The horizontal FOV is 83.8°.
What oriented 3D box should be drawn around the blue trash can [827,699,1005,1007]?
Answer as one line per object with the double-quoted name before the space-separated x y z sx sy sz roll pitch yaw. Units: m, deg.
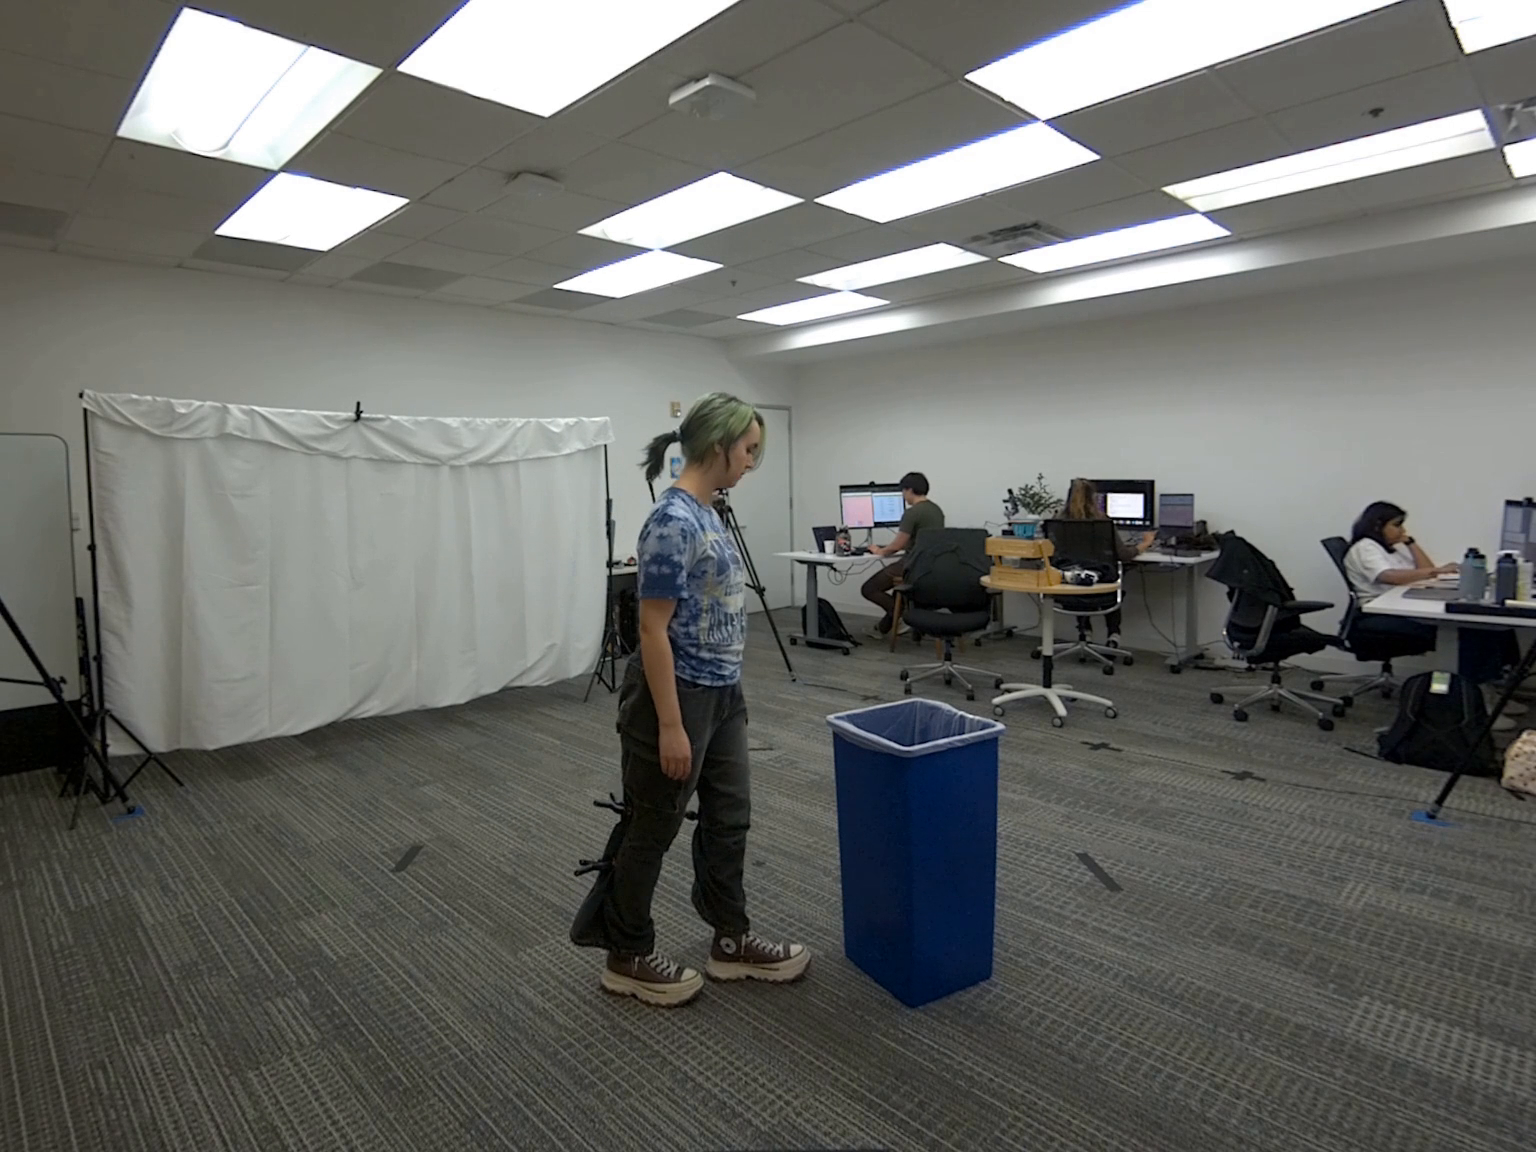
"blue trash can" 0.419 0.761 2.411 0.365 0.711 0.388 -4 5 -30
